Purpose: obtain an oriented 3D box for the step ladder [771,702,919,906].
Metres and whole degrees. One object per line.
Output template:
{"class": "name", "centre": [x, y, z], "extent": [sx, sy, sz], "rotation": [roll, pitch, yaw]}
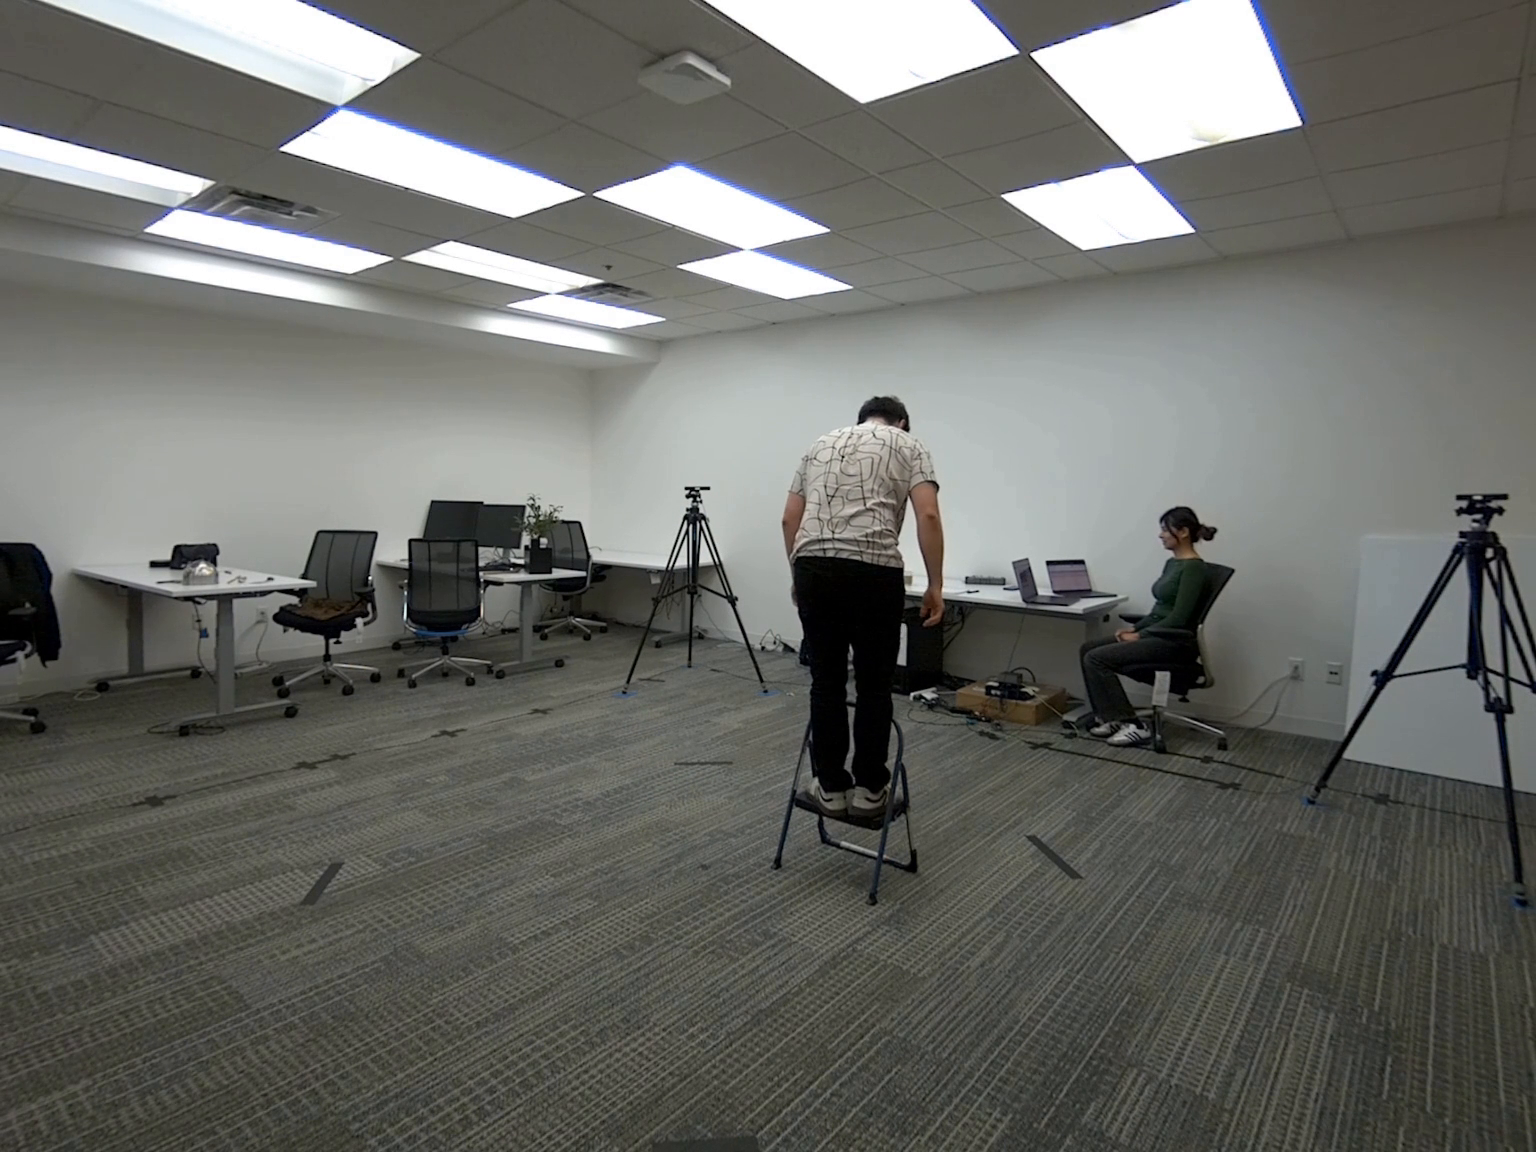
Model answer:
{"class": "step ladder", "centre": [0.281, 0.769, 3.105], "extent": [0.445, 0.605, 0.339], "rotation": [4, 4, 37]}
